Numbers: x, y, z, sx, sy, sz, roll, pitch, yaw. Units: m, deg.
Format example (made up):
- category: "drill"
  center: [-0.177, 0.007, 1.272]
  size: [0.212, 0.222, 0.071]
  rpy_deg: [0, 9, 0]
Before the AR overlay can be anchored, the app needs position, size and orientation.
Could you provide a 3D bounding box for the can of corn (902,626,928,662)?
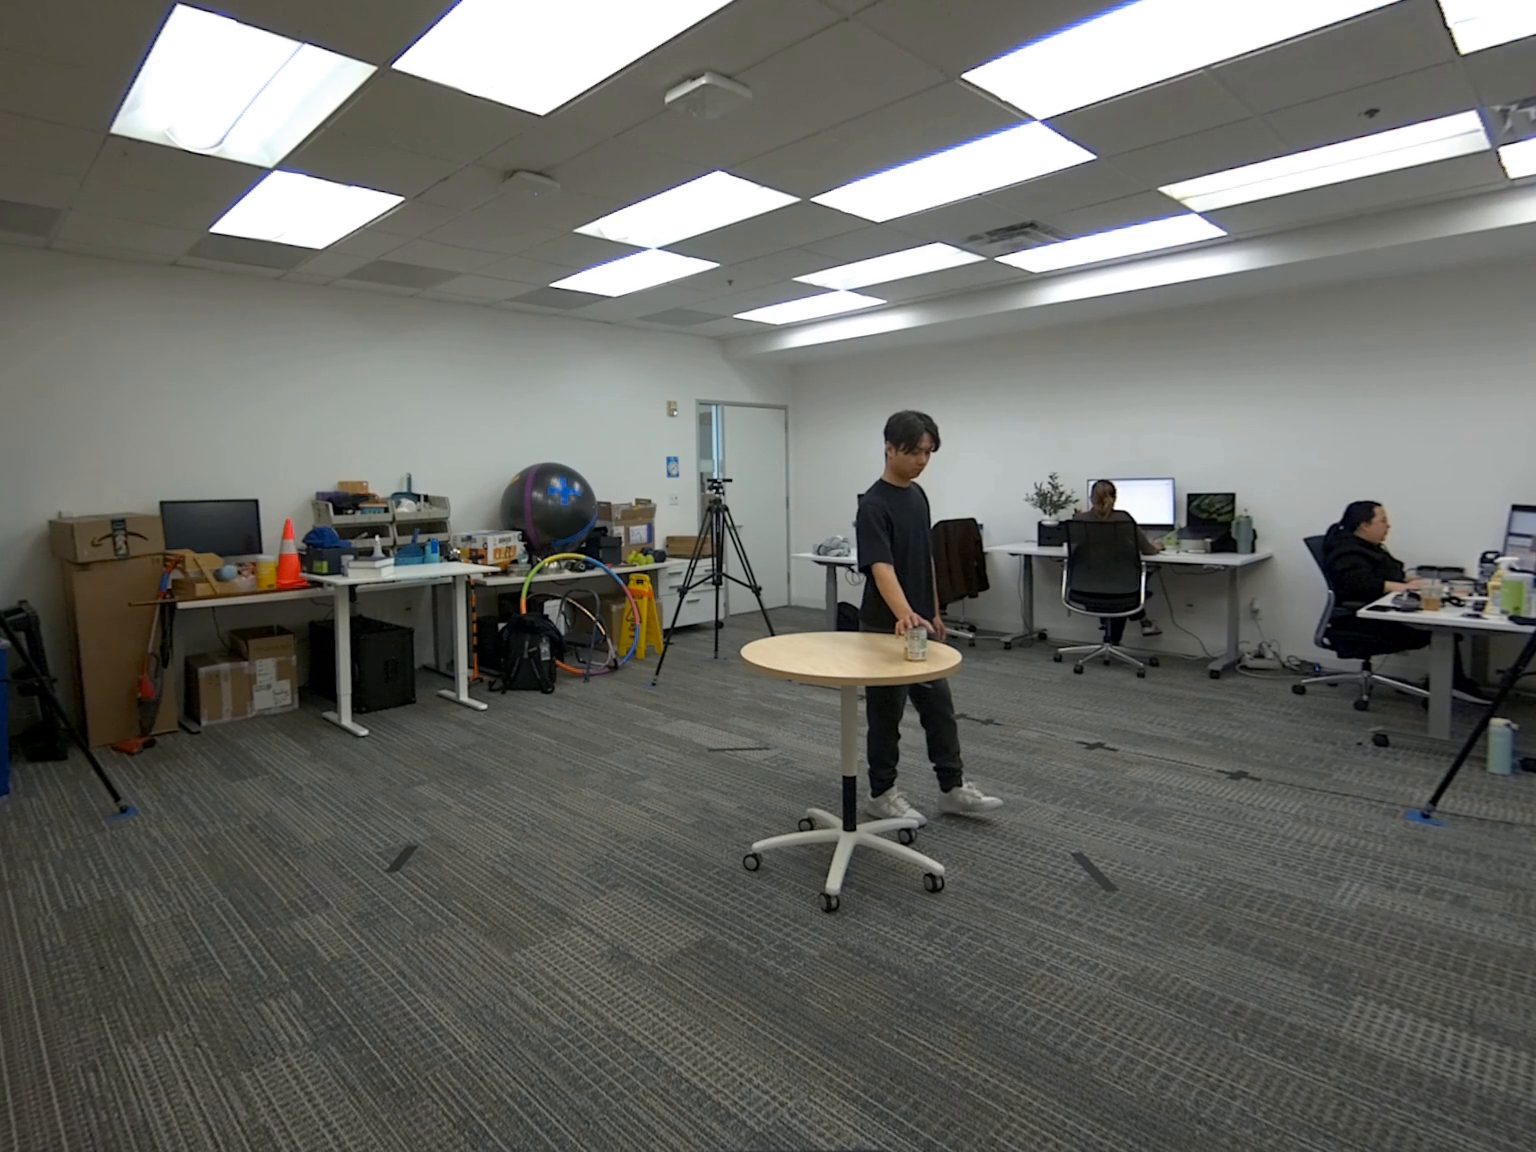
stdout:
- category: "can of corn"
  center: [0.502, 0.227, 2.864]
  size: [0.074, 0.111, 0.074]
  rpy_deg: [-2, 4, -1]
